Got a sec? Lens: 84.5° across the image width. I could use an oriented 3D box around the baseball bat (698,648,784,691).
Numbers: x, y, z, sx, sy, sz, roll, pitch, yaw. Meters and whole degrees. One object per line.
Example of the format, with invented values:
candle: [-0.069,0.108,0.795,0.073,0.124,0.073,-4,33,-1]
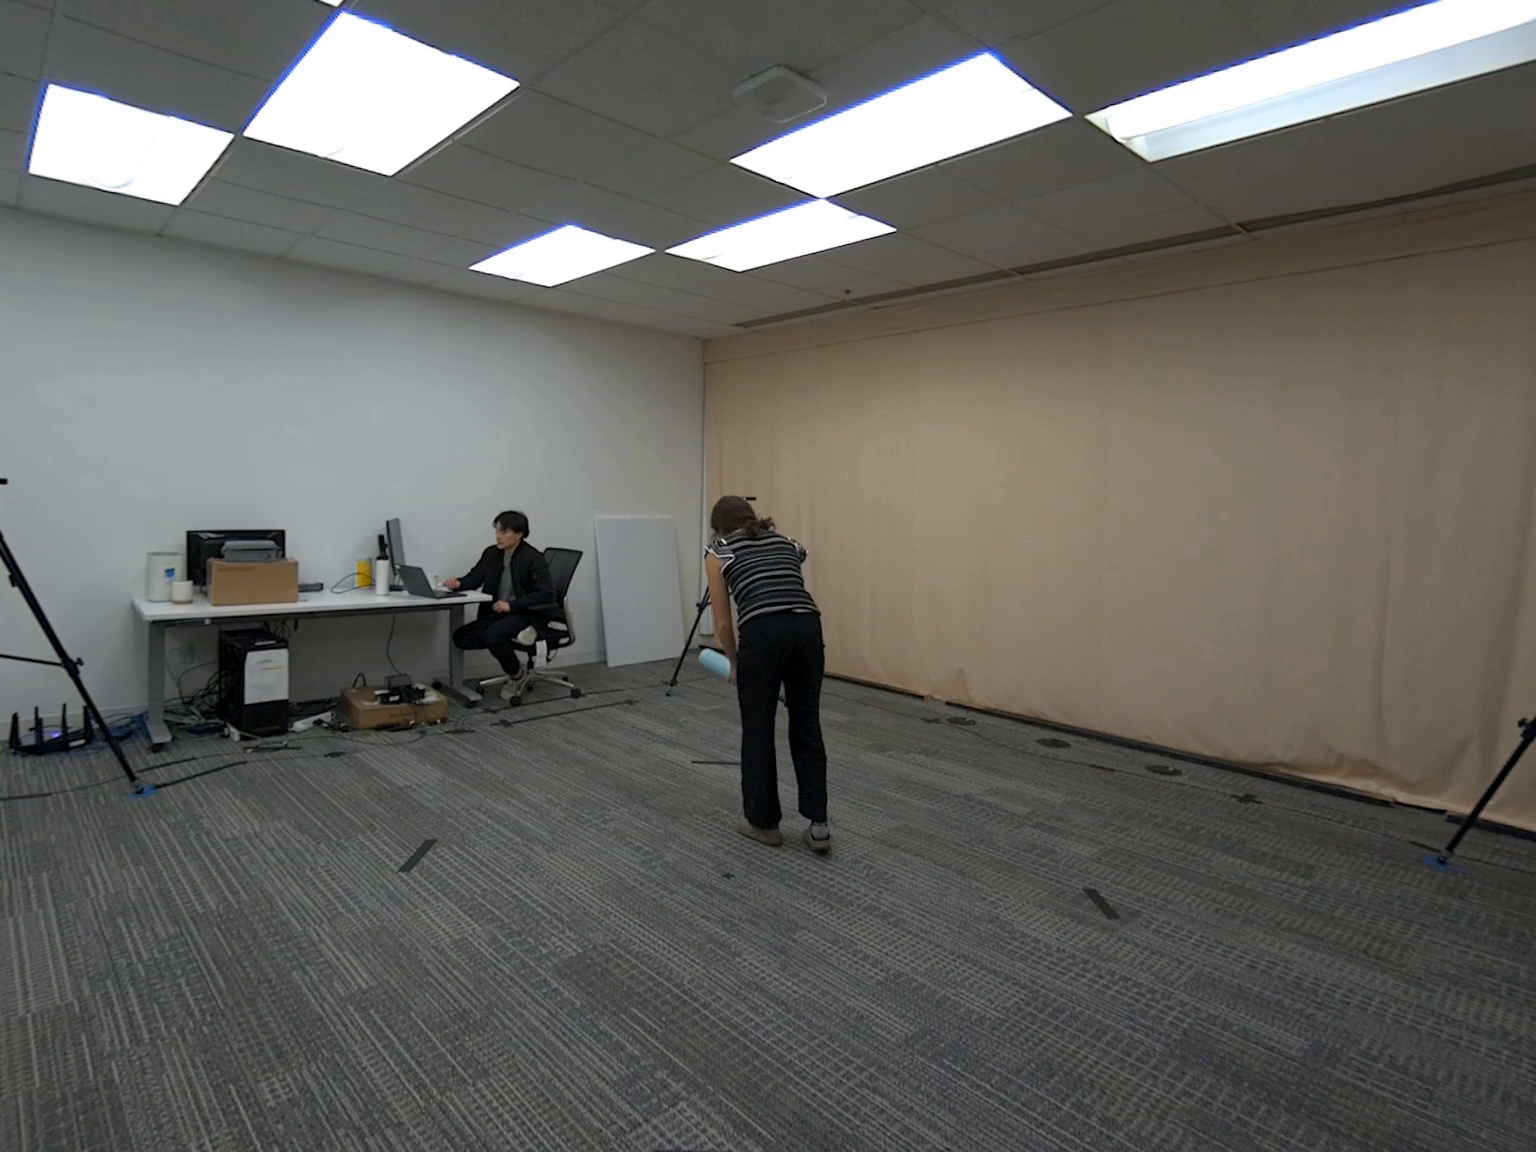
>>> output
baseball bat: [-0.112,0.462,3.732,0.559,0.088,0.087,23,17,39]
